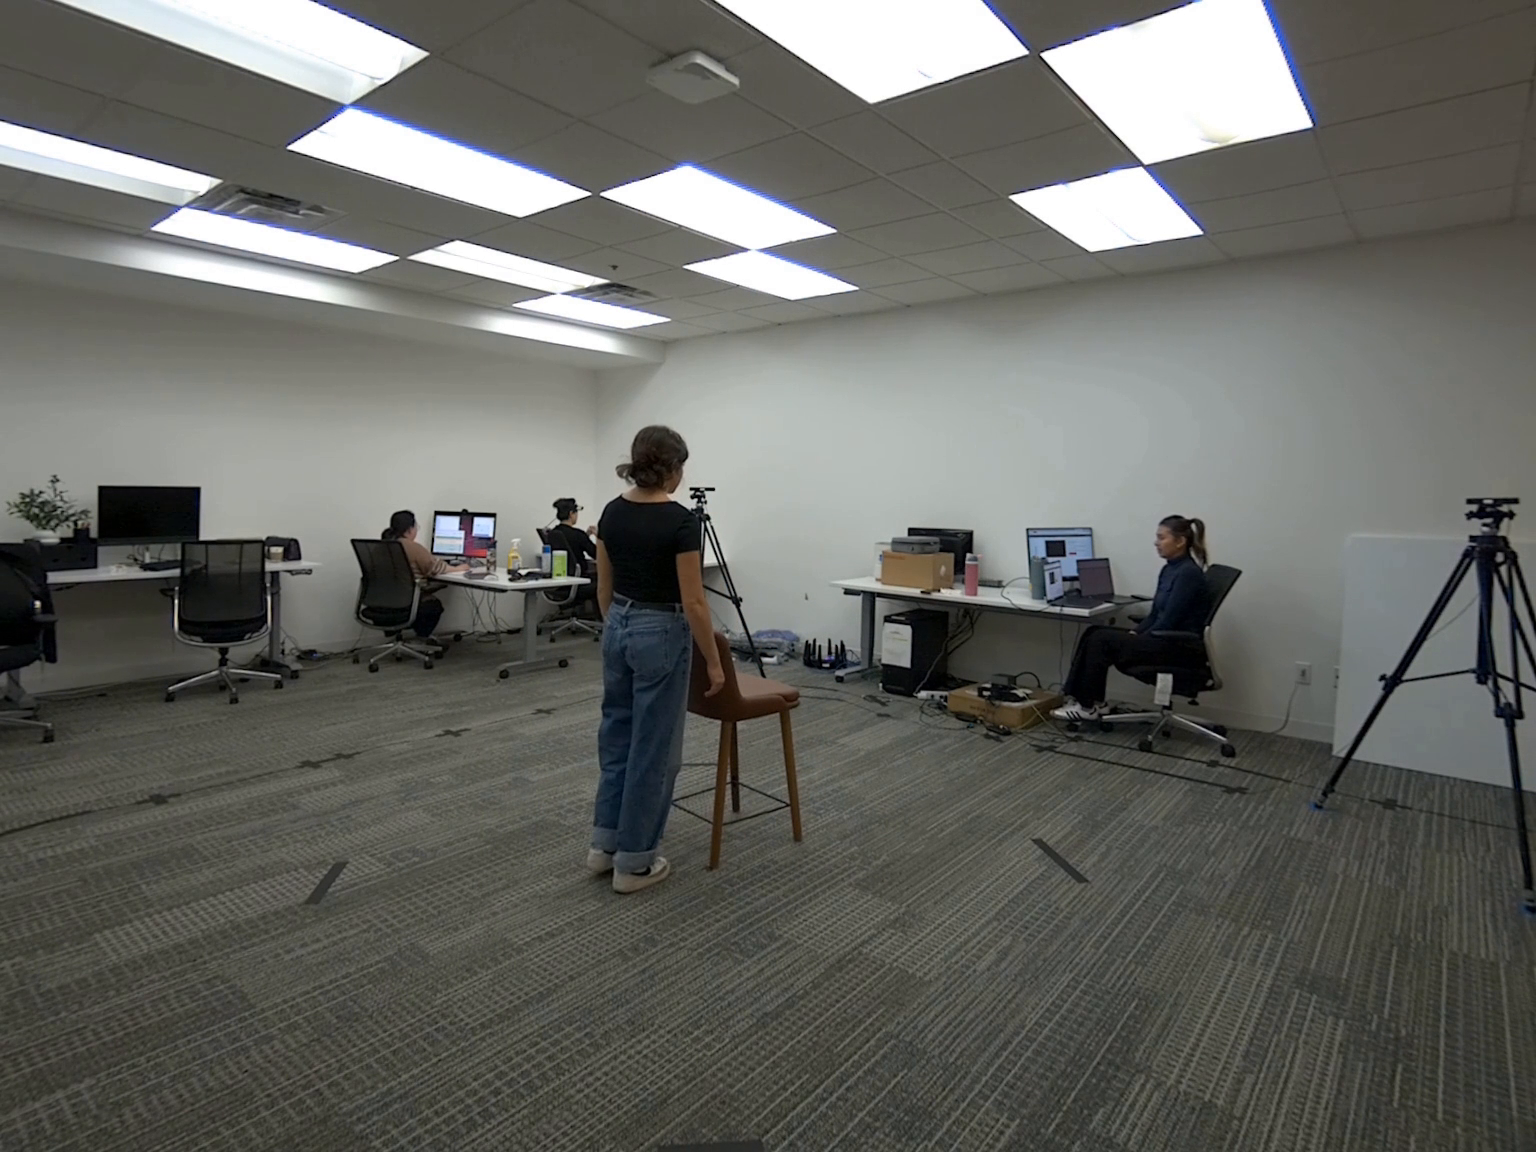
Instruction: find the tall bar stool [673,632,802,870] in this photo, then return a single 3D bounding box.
[{"bbox_3d":[-0.168,0.609,3.362,0.454,0.886,0.472,-4,5,-41],"label":"tall bar stool"}]
